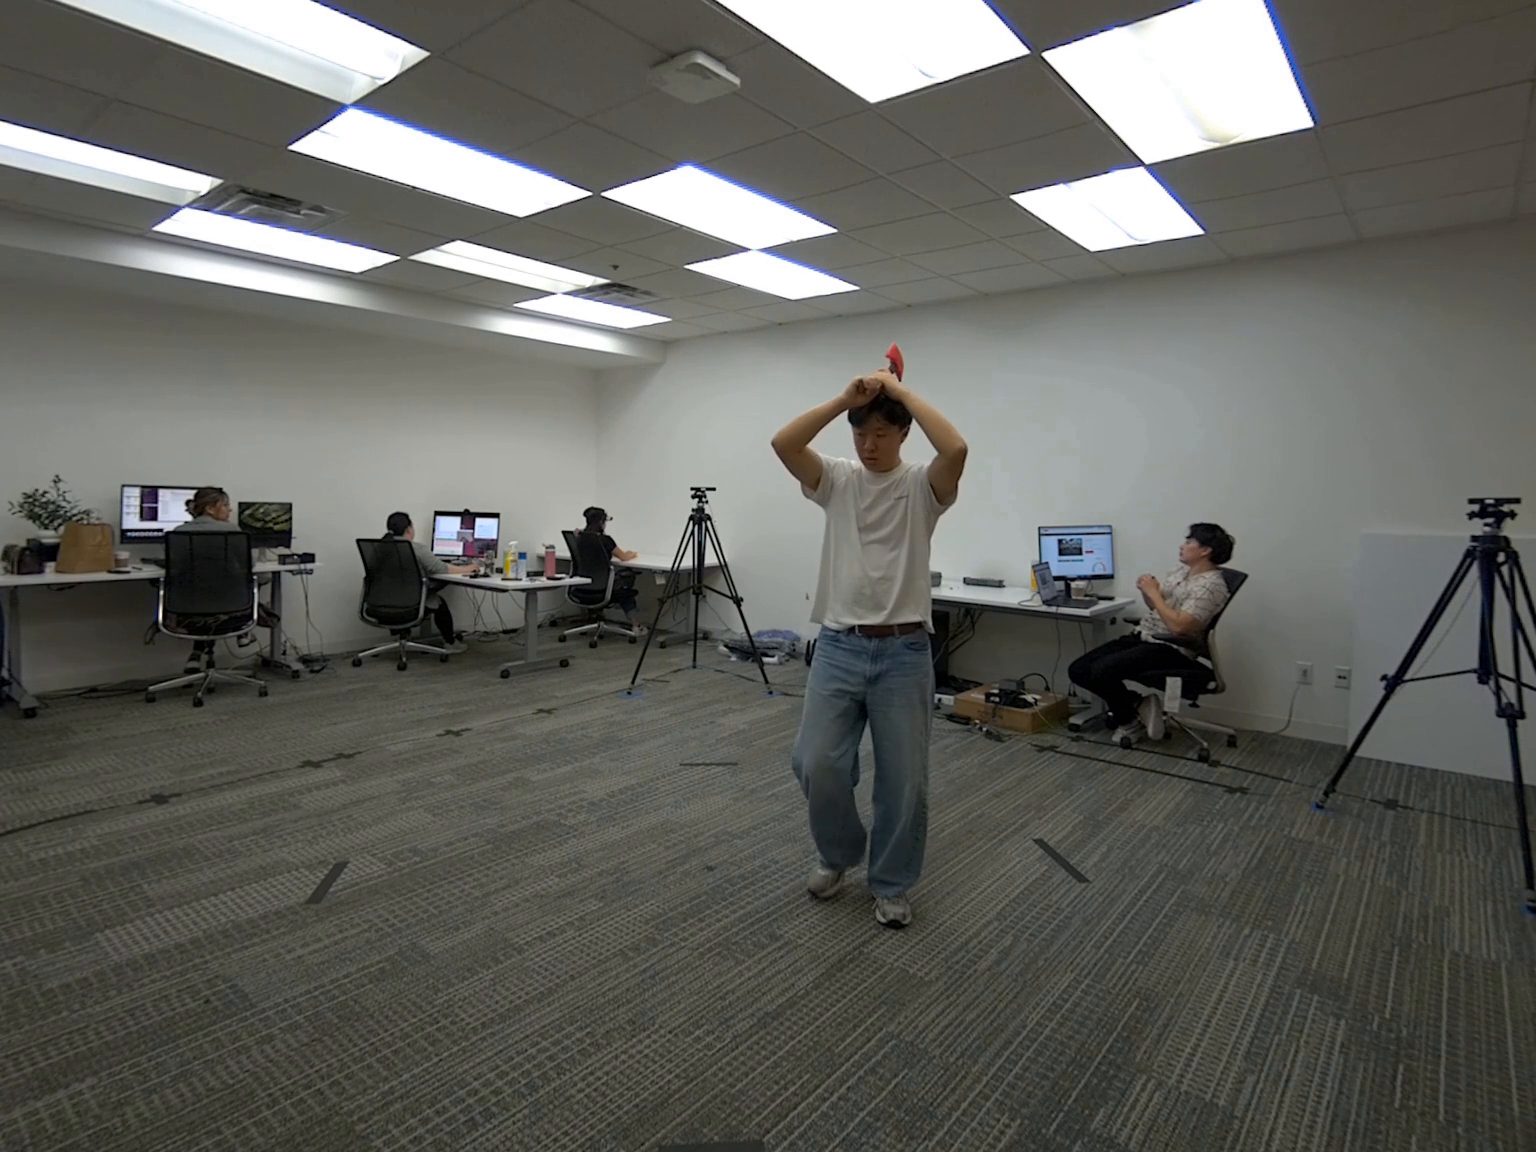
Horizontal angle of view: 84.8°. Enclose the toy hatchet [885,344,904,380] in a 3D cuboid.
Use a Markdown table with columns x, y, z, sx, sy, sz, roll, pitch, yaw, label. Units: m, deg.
| x | y | z | sx | sy | sz | roll | pitch | yaw | label |
| --- | --- | --- | --- | --- | --- | --- | --- | --- | --- |
| 0.349 | -0.664 | 2.696 | 0.030 | 0.128 | 0.266 | 12 | 25 | 33 | toy hatchet |
